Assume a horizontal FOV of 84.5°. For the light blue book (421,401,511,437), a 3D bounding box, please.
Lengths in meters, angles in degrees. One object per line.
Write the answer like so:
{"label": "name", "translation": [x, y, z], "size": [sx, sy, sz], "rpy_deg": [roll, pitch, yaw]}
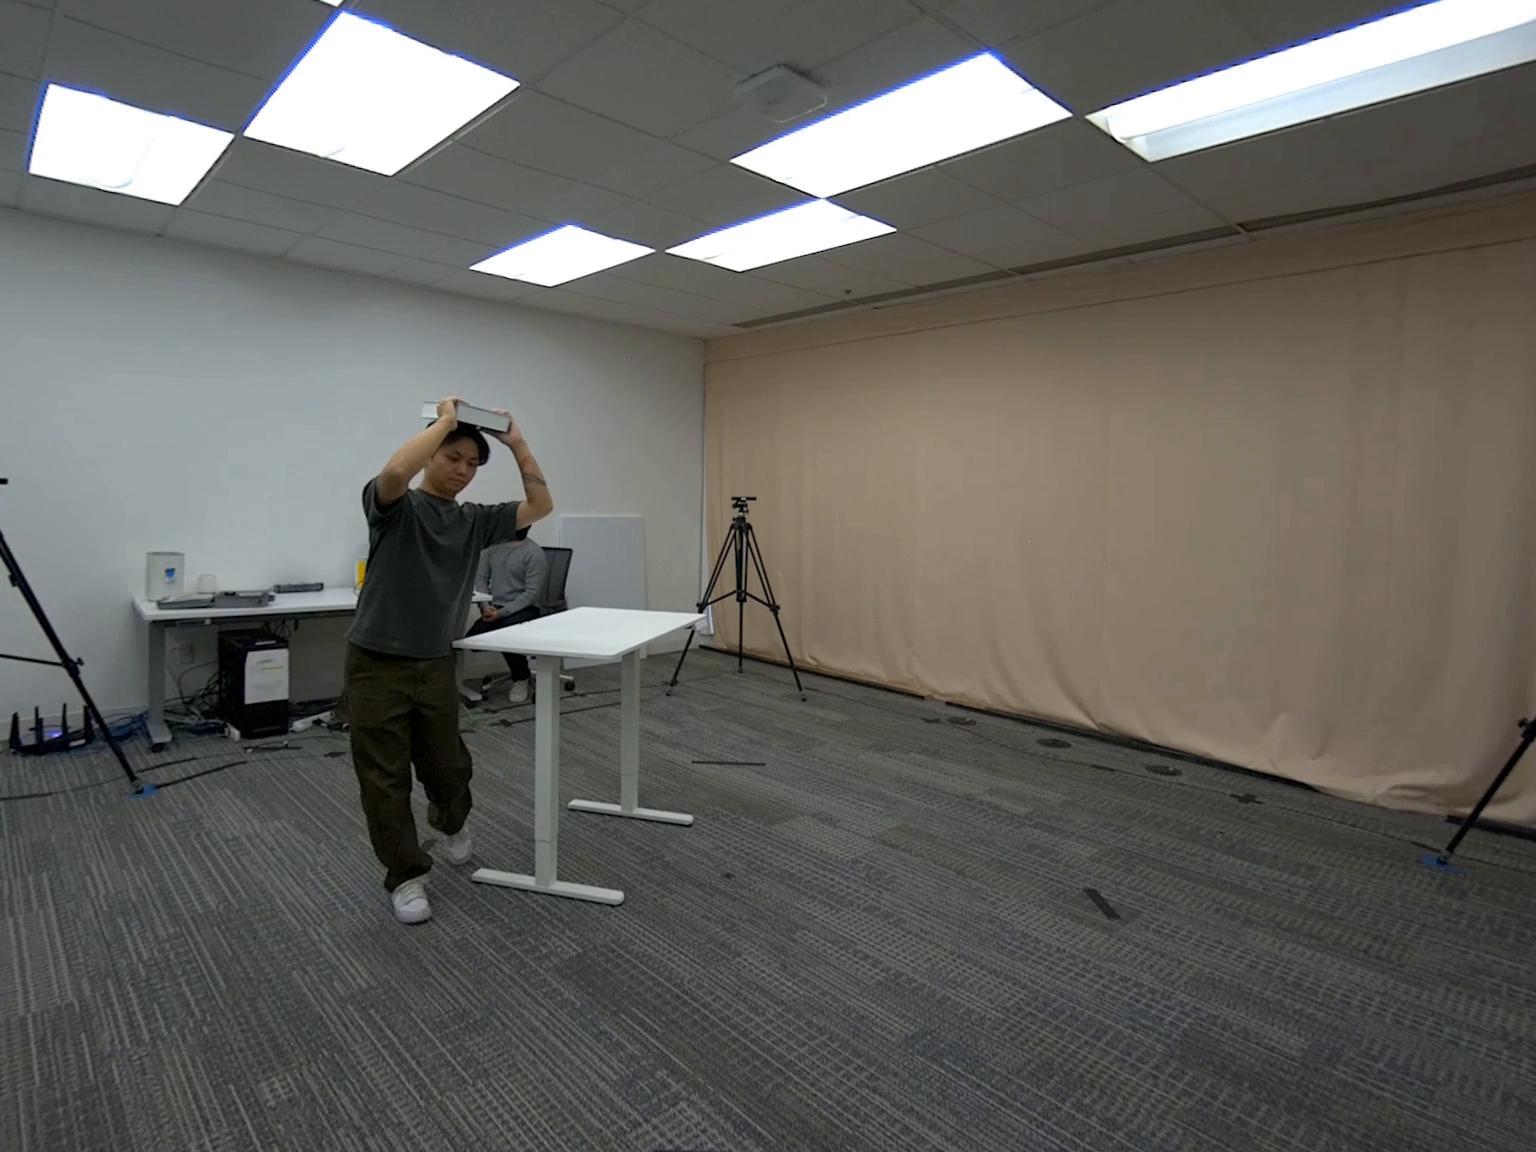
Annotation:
{"label": "light blue book", "translation": [-1.031, -0.535, 2.816], "size": [0.268, 0.059, 0.186], "rpy_deg": [13, 3, 43]}
